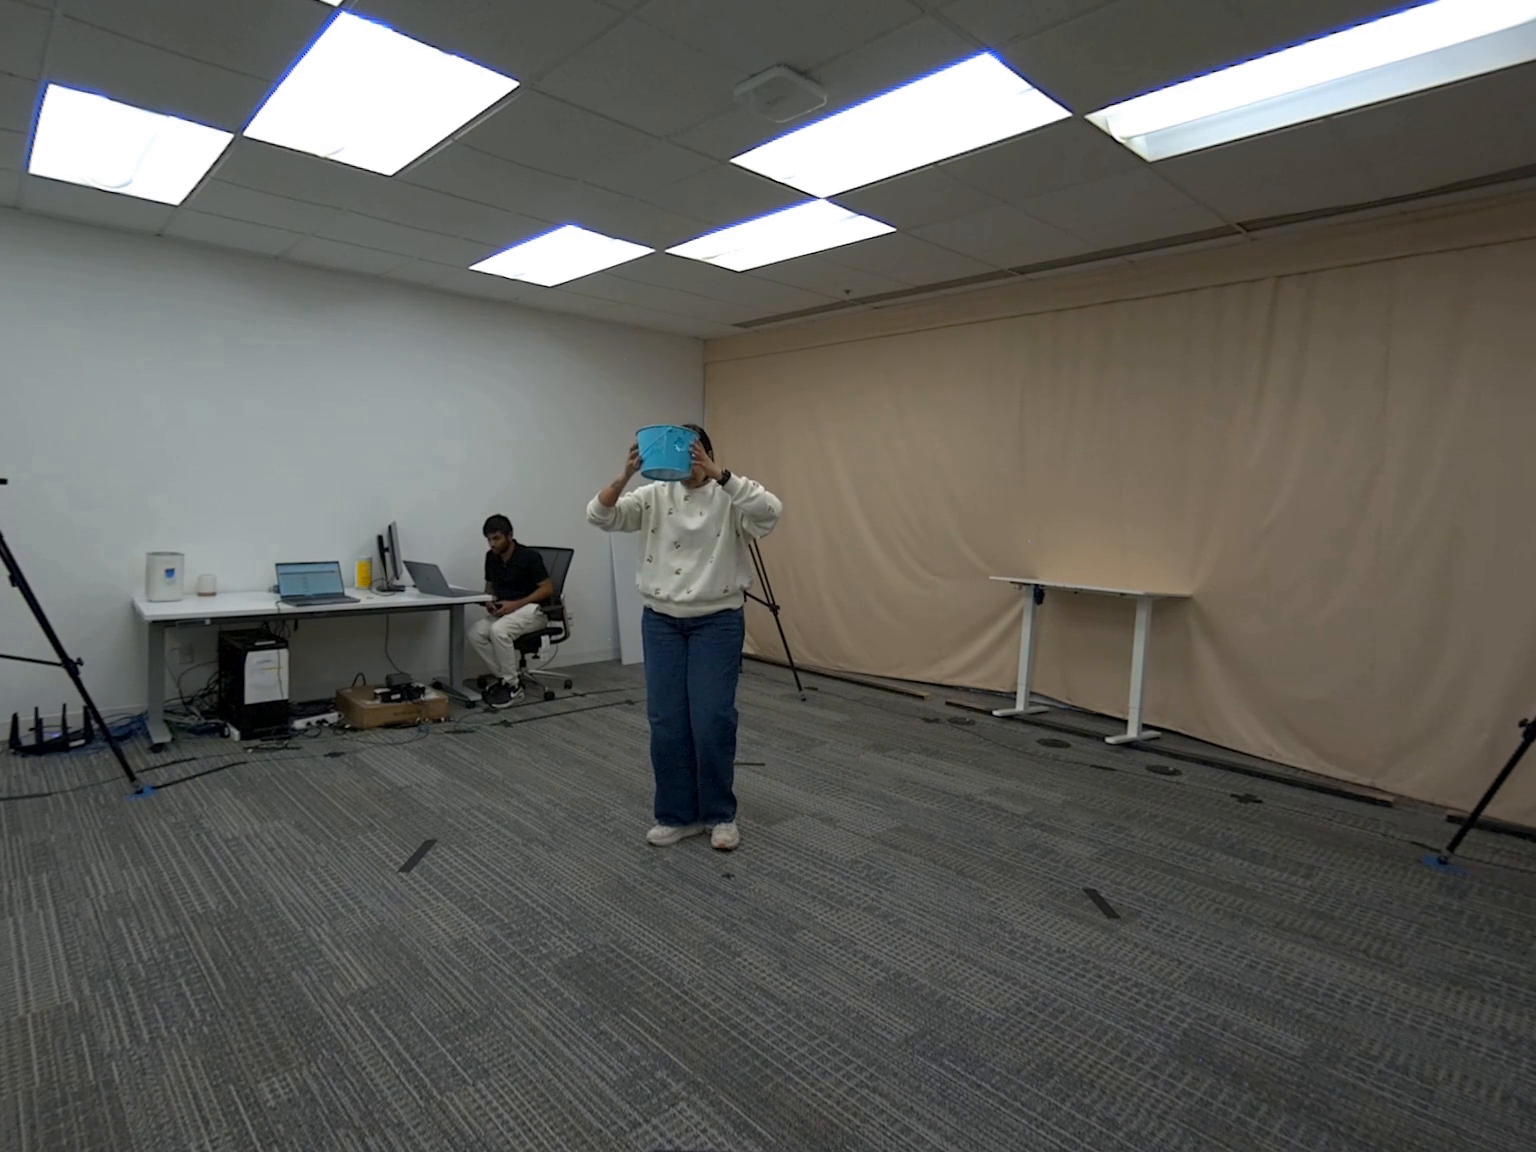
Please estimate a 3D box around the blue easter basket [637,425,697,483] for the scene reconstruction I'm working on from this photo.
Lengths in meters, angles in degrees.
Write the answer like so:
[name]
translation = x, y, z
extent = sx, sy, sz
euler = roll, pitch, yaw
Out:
[blue easter basket]
translation = -0.380, -0.441, 3.071
extent = 0.243, 0.157, 0.242
euler = 2, -9, -1
